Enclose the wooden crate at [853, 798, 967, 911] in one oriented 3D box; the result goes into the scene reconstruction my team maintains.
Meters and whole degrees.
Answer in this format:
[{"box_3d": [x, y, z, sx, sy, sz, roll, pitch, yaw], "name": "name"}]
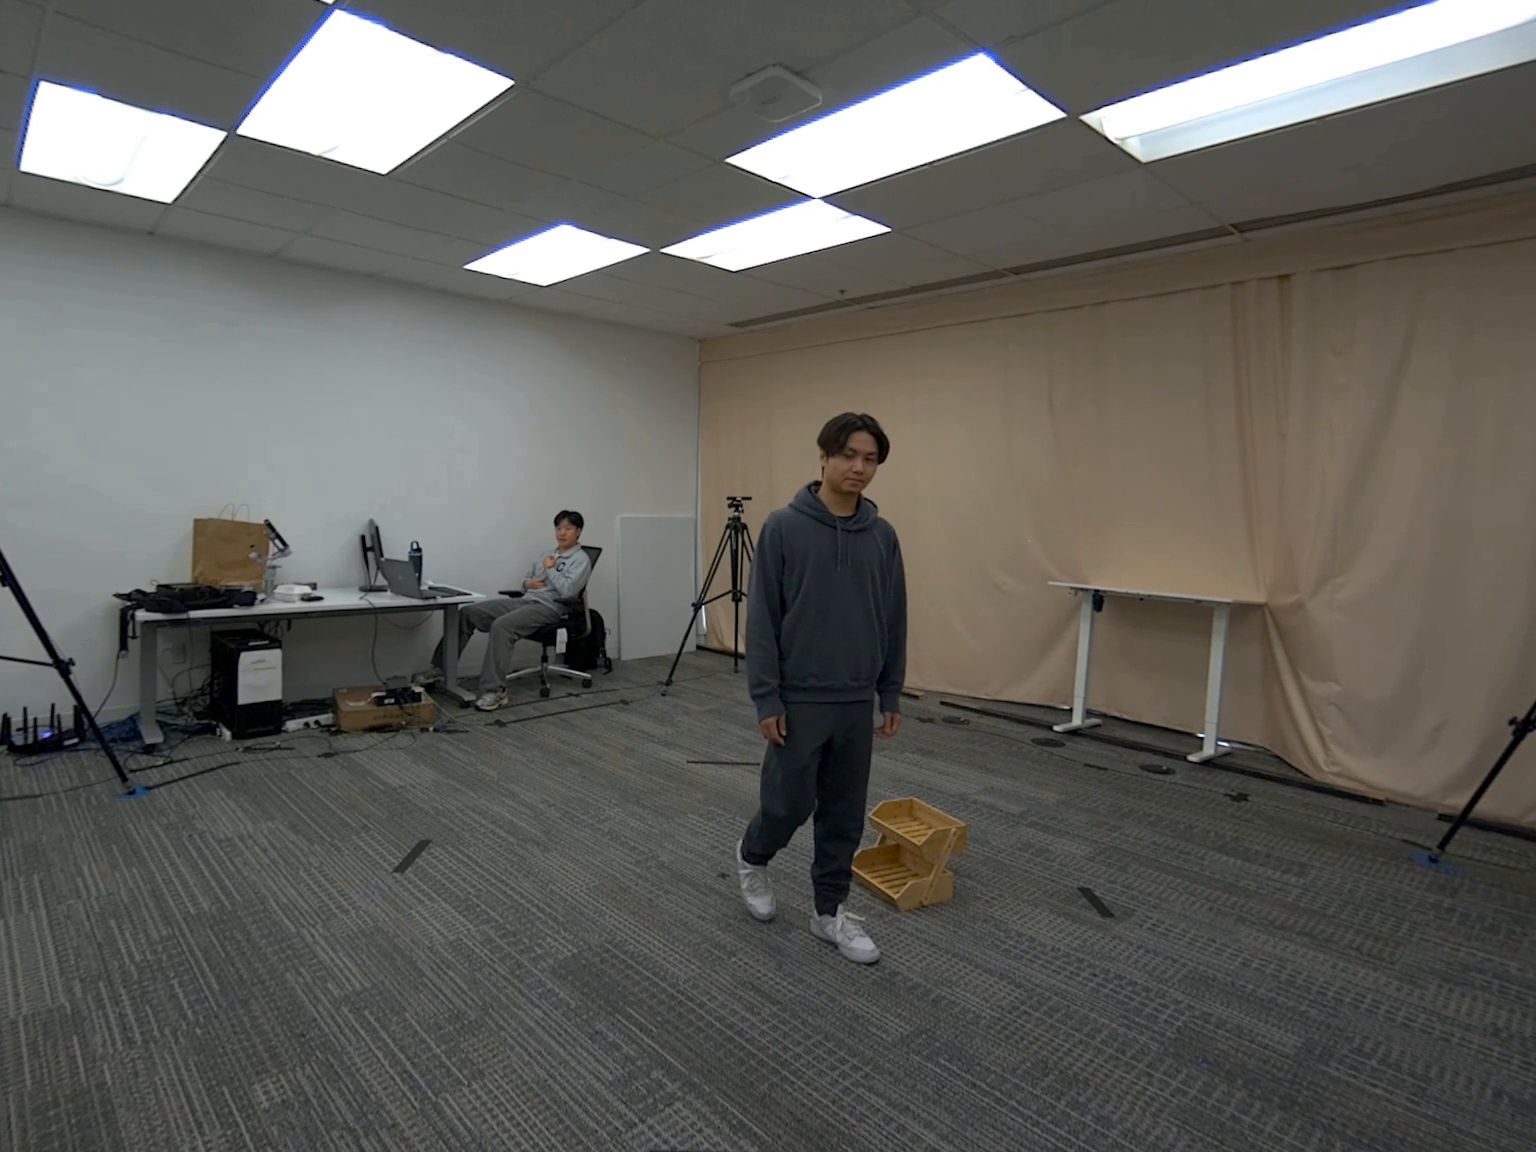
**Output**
[{"box_3d": [0.491, 0.992, 3.047, 0.296, 0.273, 0.332, 0, 4, -29], "name": "wooden crate"}]
